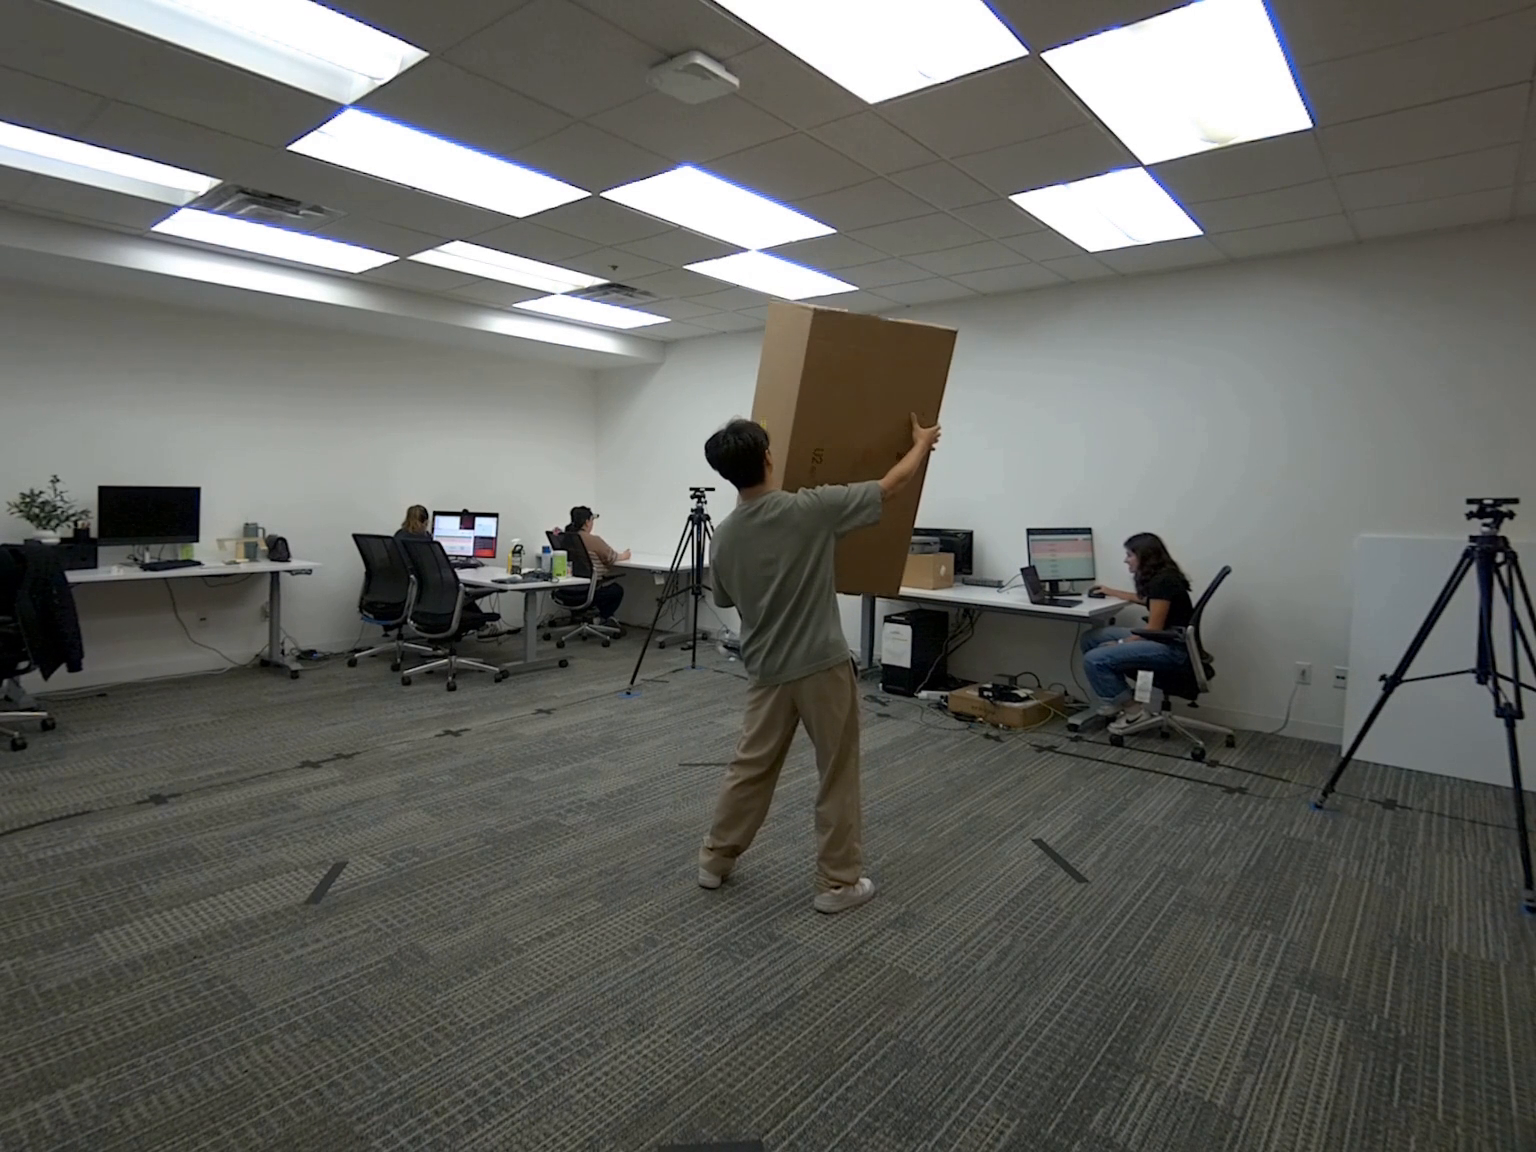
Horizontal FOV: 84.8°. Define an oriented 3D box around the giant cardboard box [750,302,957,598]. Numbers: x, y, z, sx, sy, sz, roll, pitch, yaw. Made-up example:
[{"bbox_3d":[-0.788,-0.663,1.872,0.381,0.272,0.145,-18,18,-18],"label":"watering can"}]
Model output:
[{"bbox_3d":[0.253,-0.487,3.261,0.565,1.013,0.441,3,18,-22],"label":"giant cardboard box"}]
